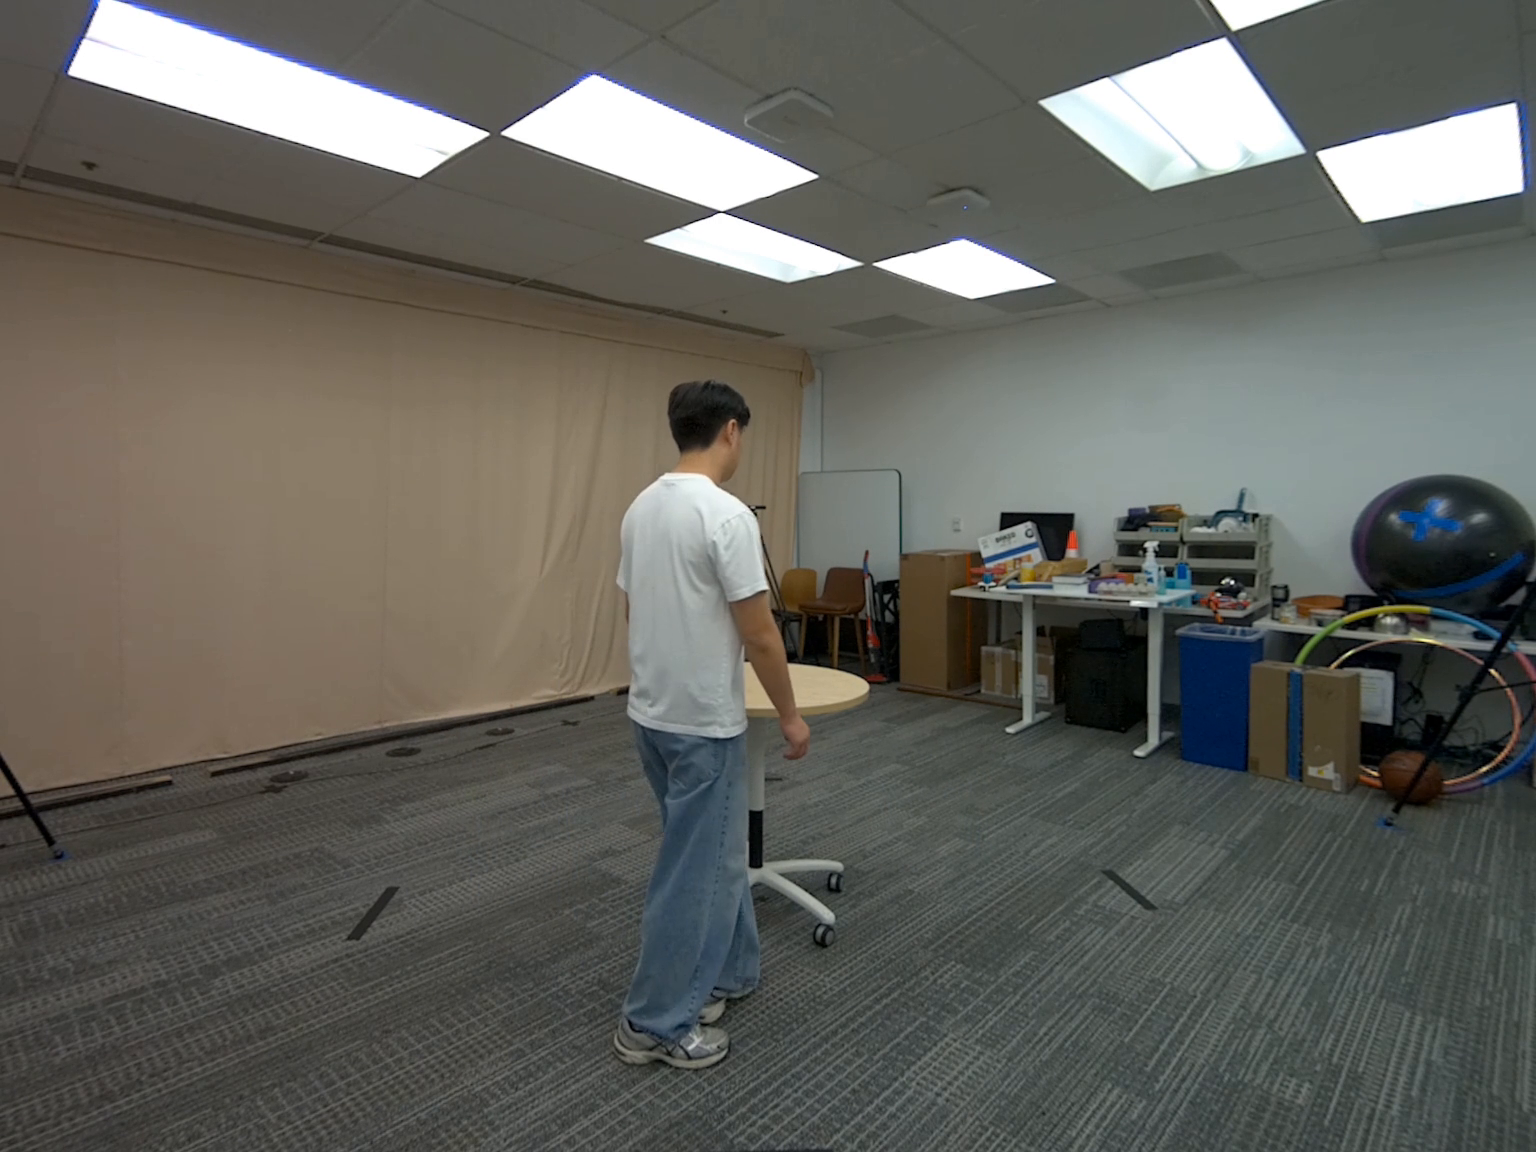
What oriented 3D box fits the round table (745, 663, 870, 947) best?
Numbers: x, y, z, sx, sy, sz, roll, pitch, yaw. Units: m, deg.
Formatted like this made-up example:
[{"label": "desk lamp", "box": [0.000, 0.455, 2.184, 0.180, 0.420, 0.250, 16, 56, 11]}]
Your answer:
[{"label": "round table", "box": [-0.036, 0.761, 2.915, 0.763, 0.792, 0.767, 0, 4, -2]}]
